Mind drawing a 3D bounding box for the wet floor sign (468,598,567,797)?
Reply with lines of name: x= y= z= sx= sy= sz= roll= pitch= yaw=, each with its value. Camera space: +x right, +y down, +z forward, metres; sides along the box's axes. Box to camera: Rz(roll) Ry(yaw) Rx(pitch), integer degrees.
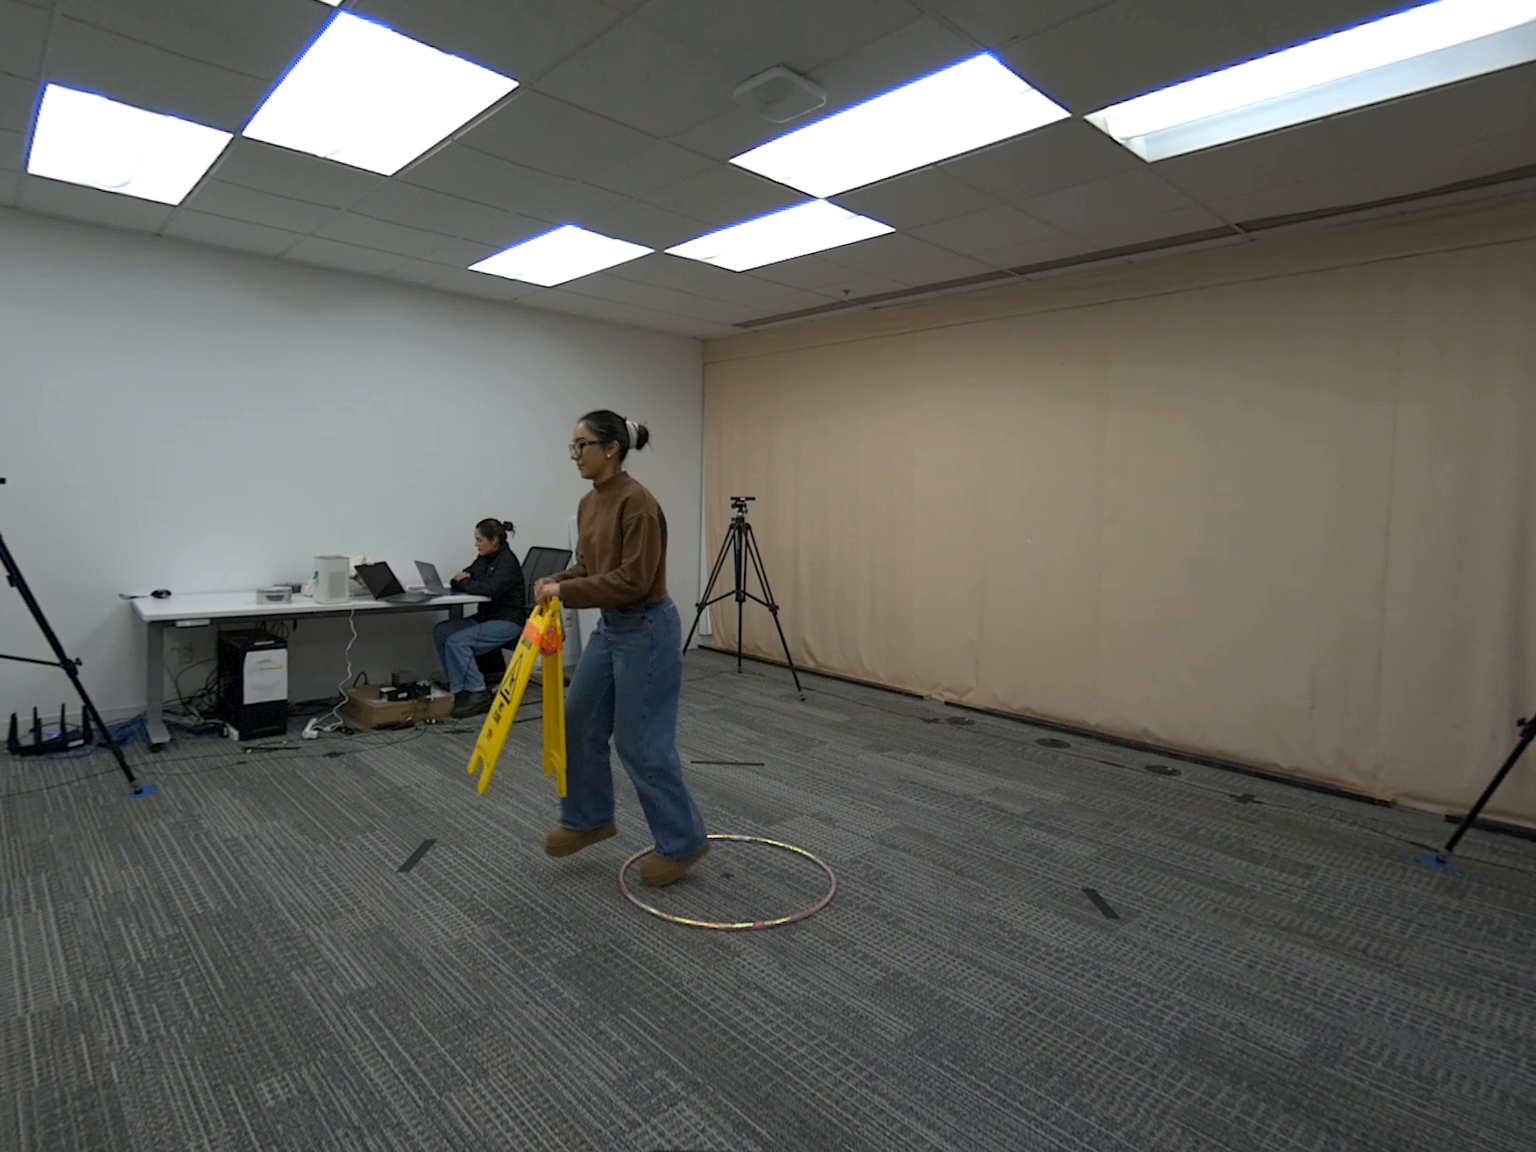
wet floor sign: x=-0.794 y=0.404 z=2.811 sx=0.283 sy=0.646 sz=0.288 roll=9 pitch=0 yaw=-27
